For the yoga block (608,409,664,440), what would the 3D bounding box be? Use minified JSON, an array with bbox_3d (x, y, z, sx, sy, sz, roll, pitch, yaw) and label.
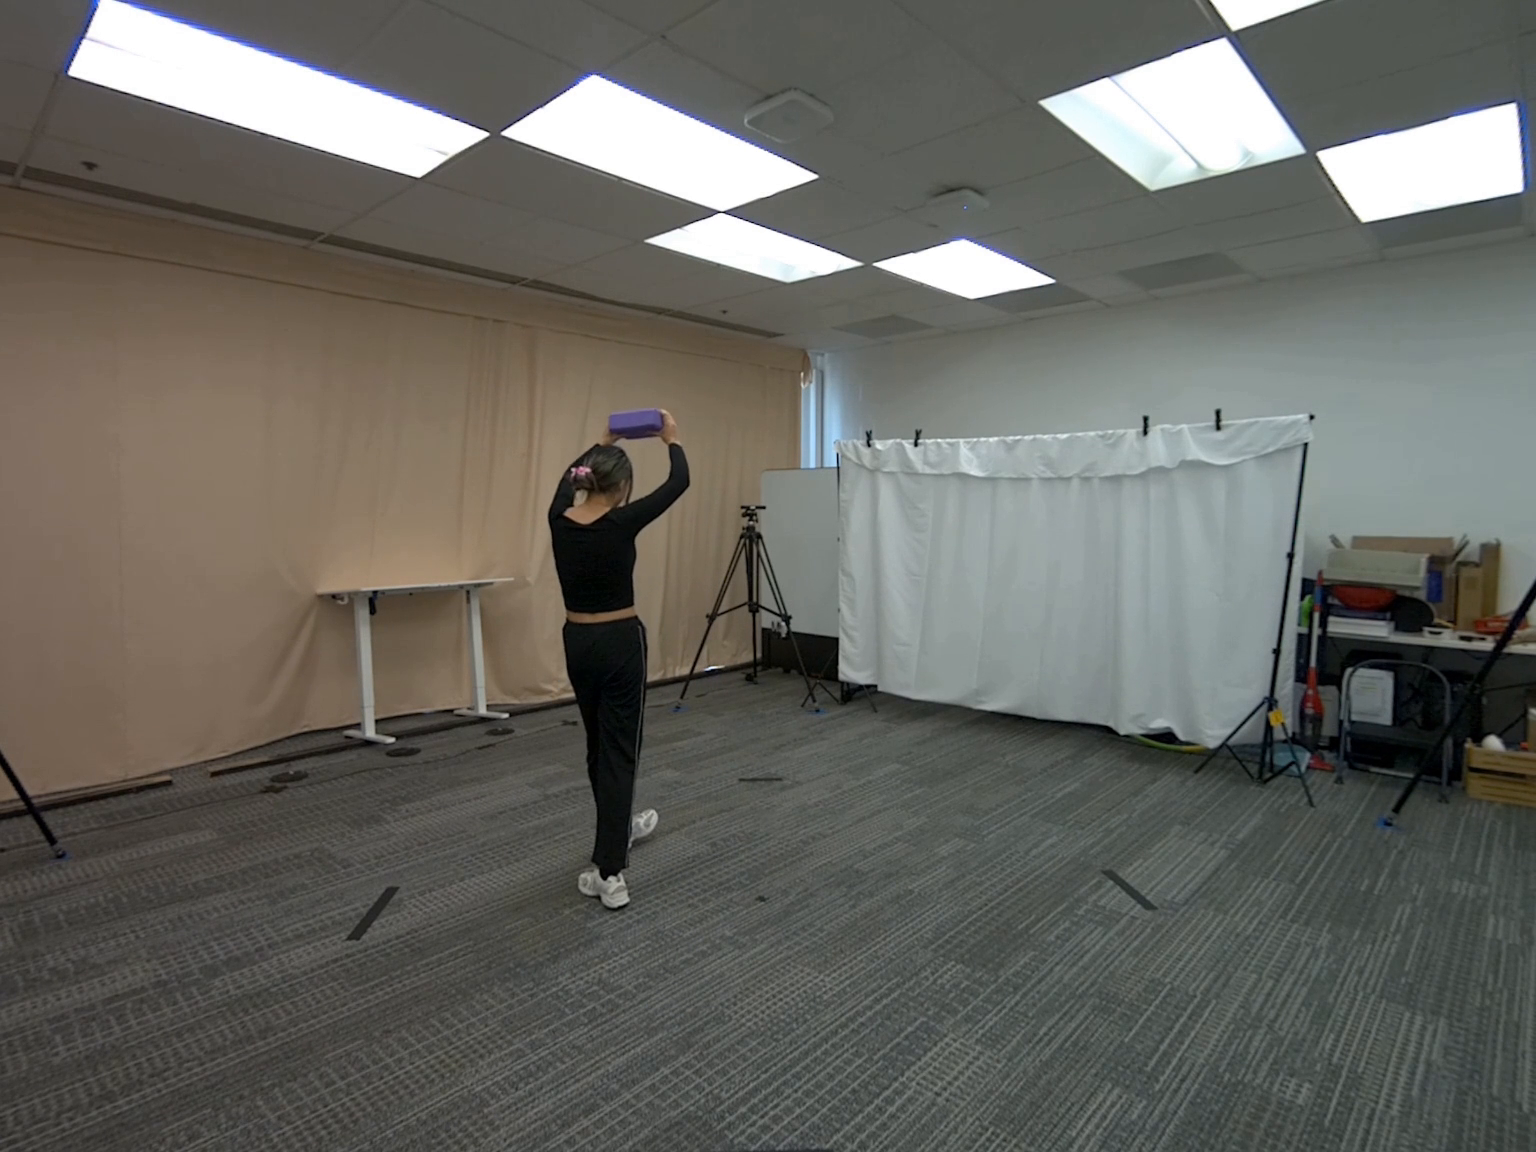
[{"bbox_3d":[-0.527,-0.622,3.445,0.235,0.077,0.145,-1,-7,25],"label":"yoga block"}]
